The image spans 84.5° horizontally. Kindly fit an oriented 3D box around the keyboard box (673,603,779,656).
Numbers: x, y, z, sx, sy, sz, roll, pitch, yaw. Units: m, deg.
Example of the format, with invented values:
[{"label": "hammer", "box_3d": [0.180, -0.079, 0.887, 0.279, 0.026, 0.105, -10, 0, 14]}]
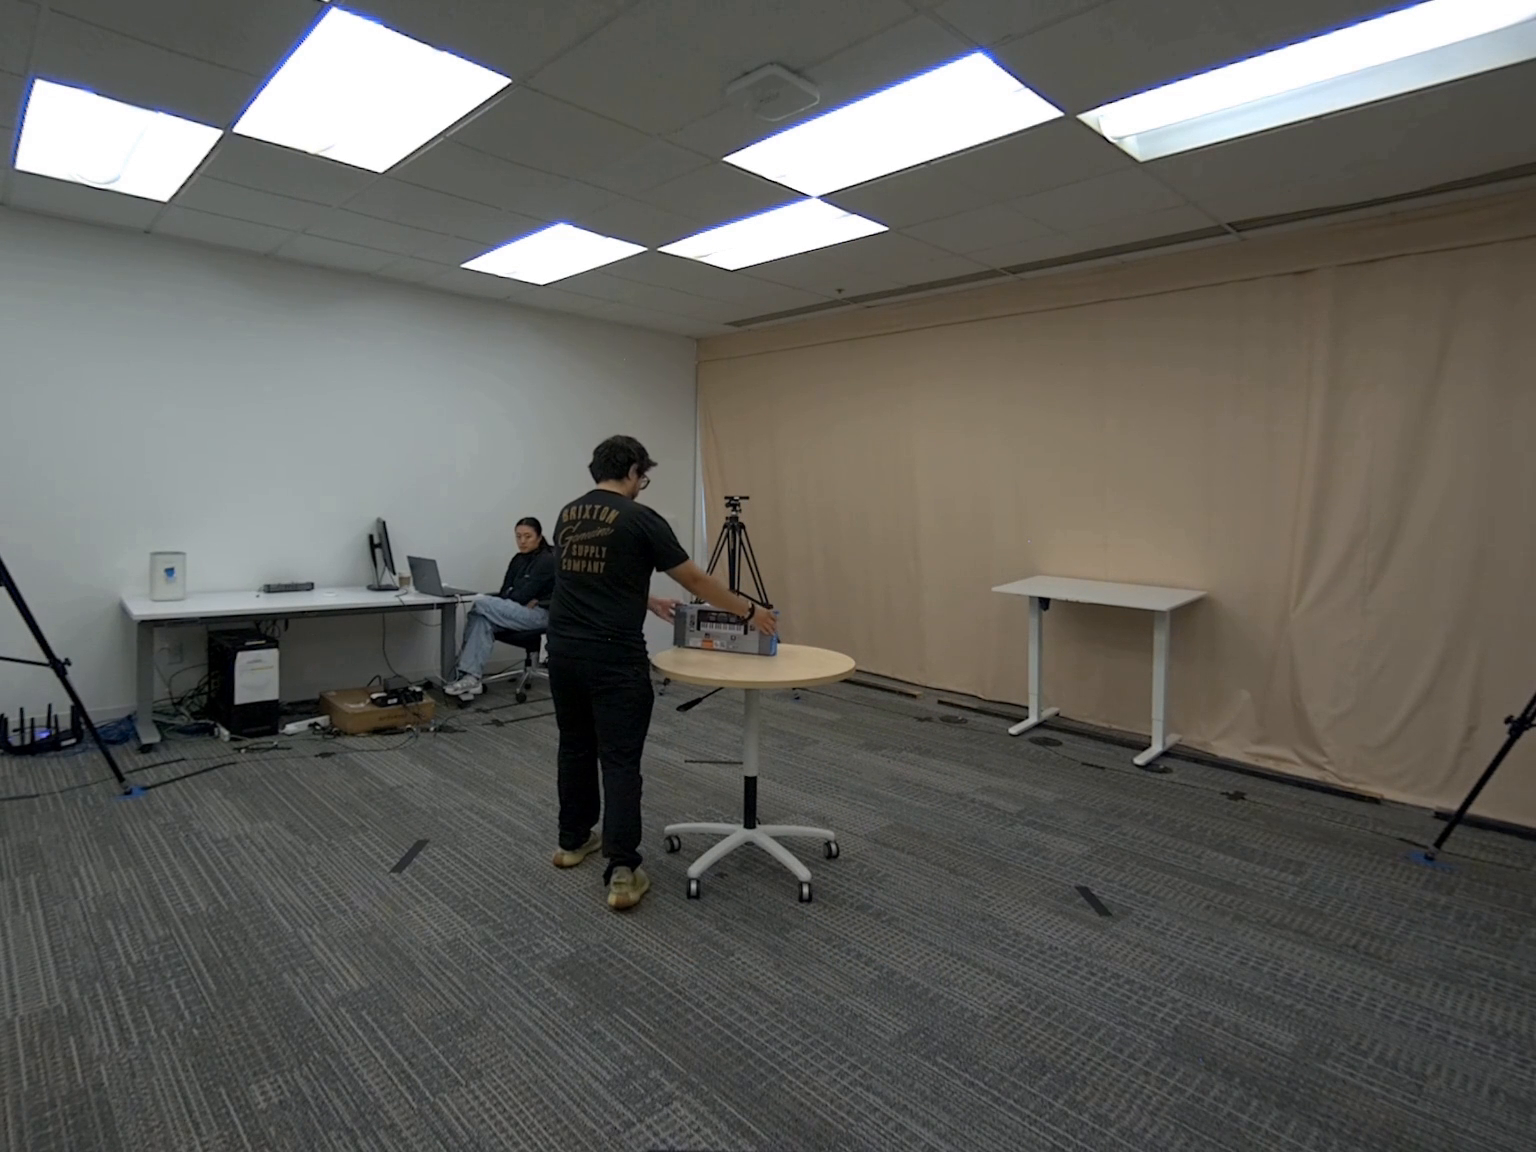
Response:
[{"label": "keyboard box", "box_3d": [-0.178, 0.212, 3.361, 0.445, 0.176, 0.058, 4, -1, 26]}]
